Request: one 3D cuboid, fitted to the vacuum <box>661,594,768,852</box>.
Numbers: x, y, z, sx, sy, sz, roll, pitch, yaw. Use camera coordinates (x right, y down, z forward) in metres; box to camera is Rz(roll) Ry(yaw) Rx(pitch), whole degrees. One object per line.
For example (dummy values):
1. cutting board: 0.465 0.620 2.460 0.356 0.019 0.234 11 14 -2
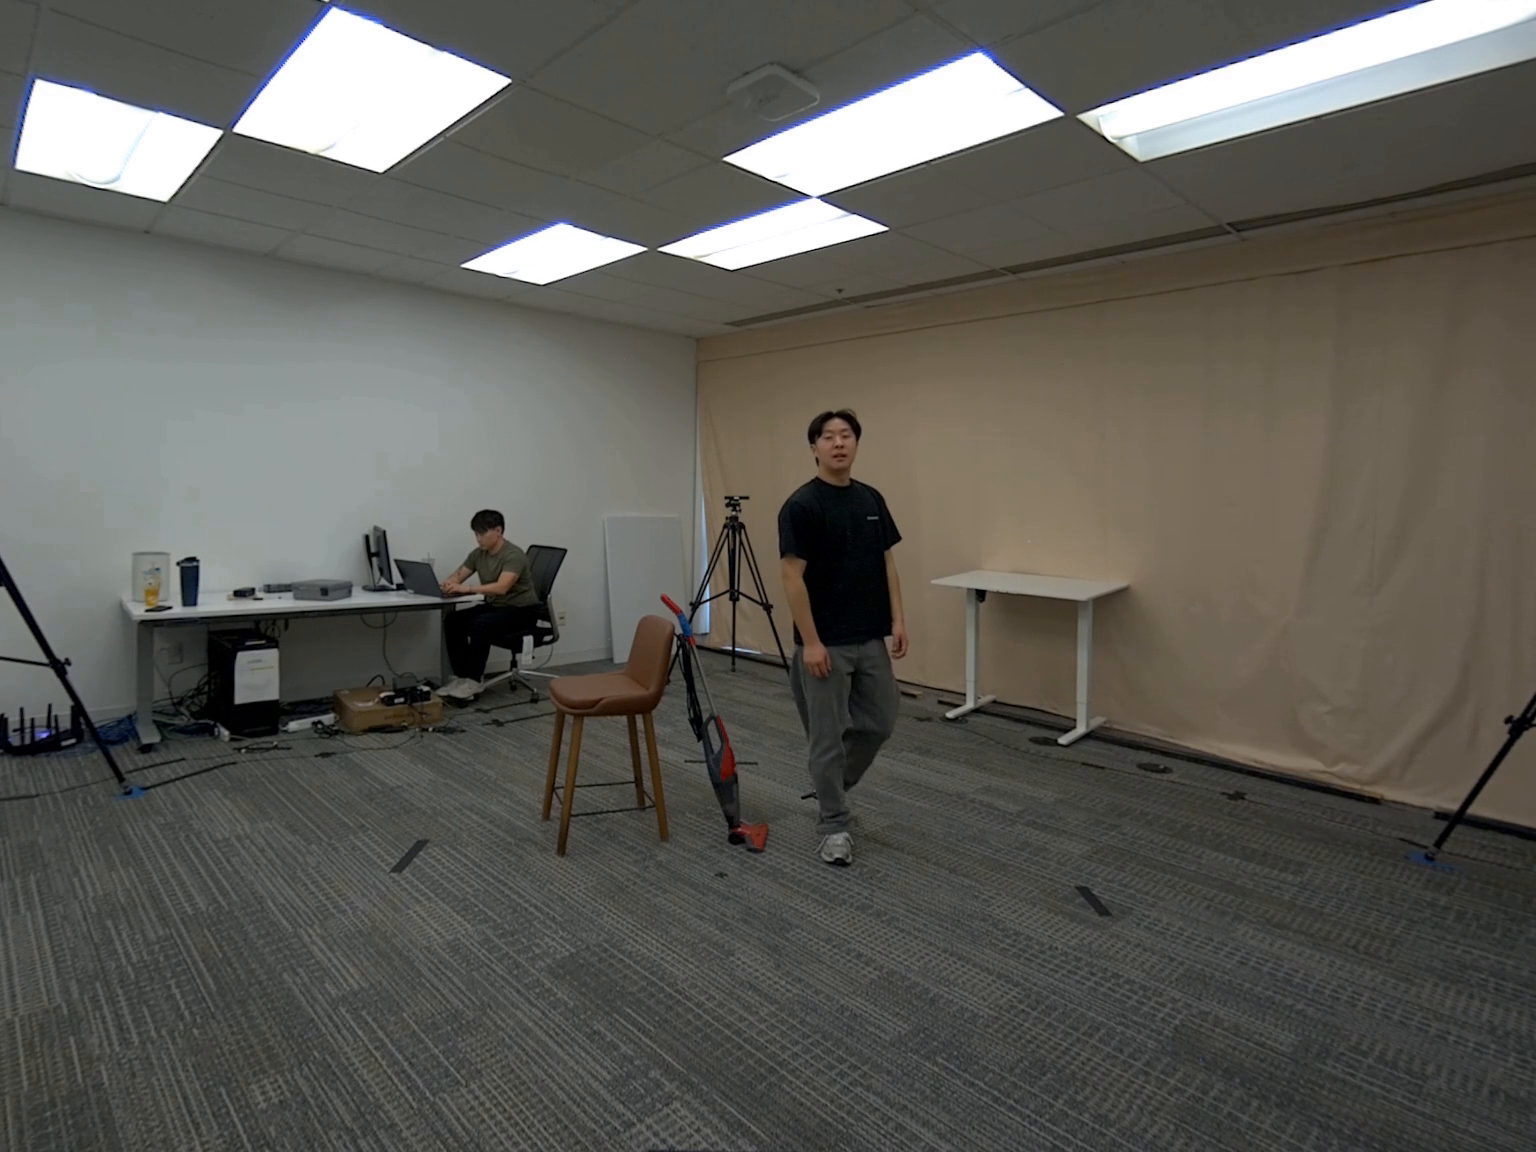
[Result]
1. vacuum: -0.262 0.570 3.446 0.144 1.051 0.251 -20 -1 5
